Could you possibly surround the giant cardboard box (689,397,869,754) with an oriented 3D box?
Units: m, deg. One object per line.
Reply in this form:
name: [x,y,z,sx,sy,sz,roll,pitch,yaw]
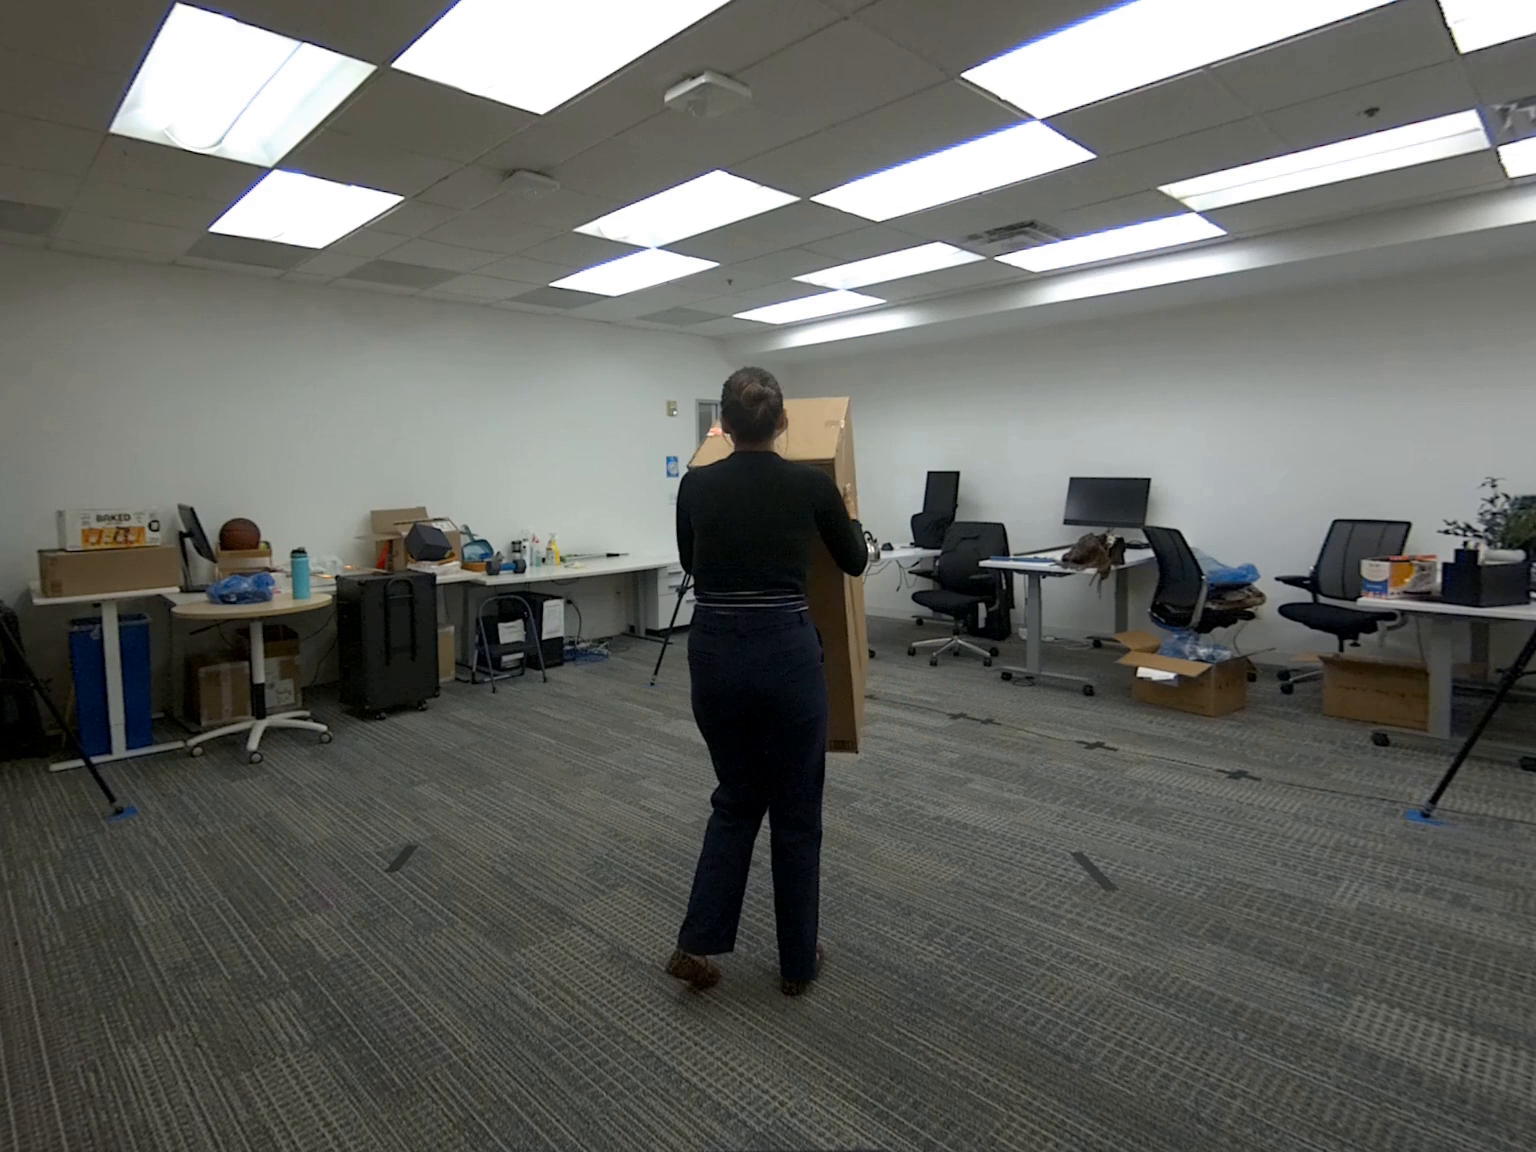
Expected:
giant cardboard box: [0.075,-0.005,2.836,0.432,1.001,0.584,-1,27,12]
